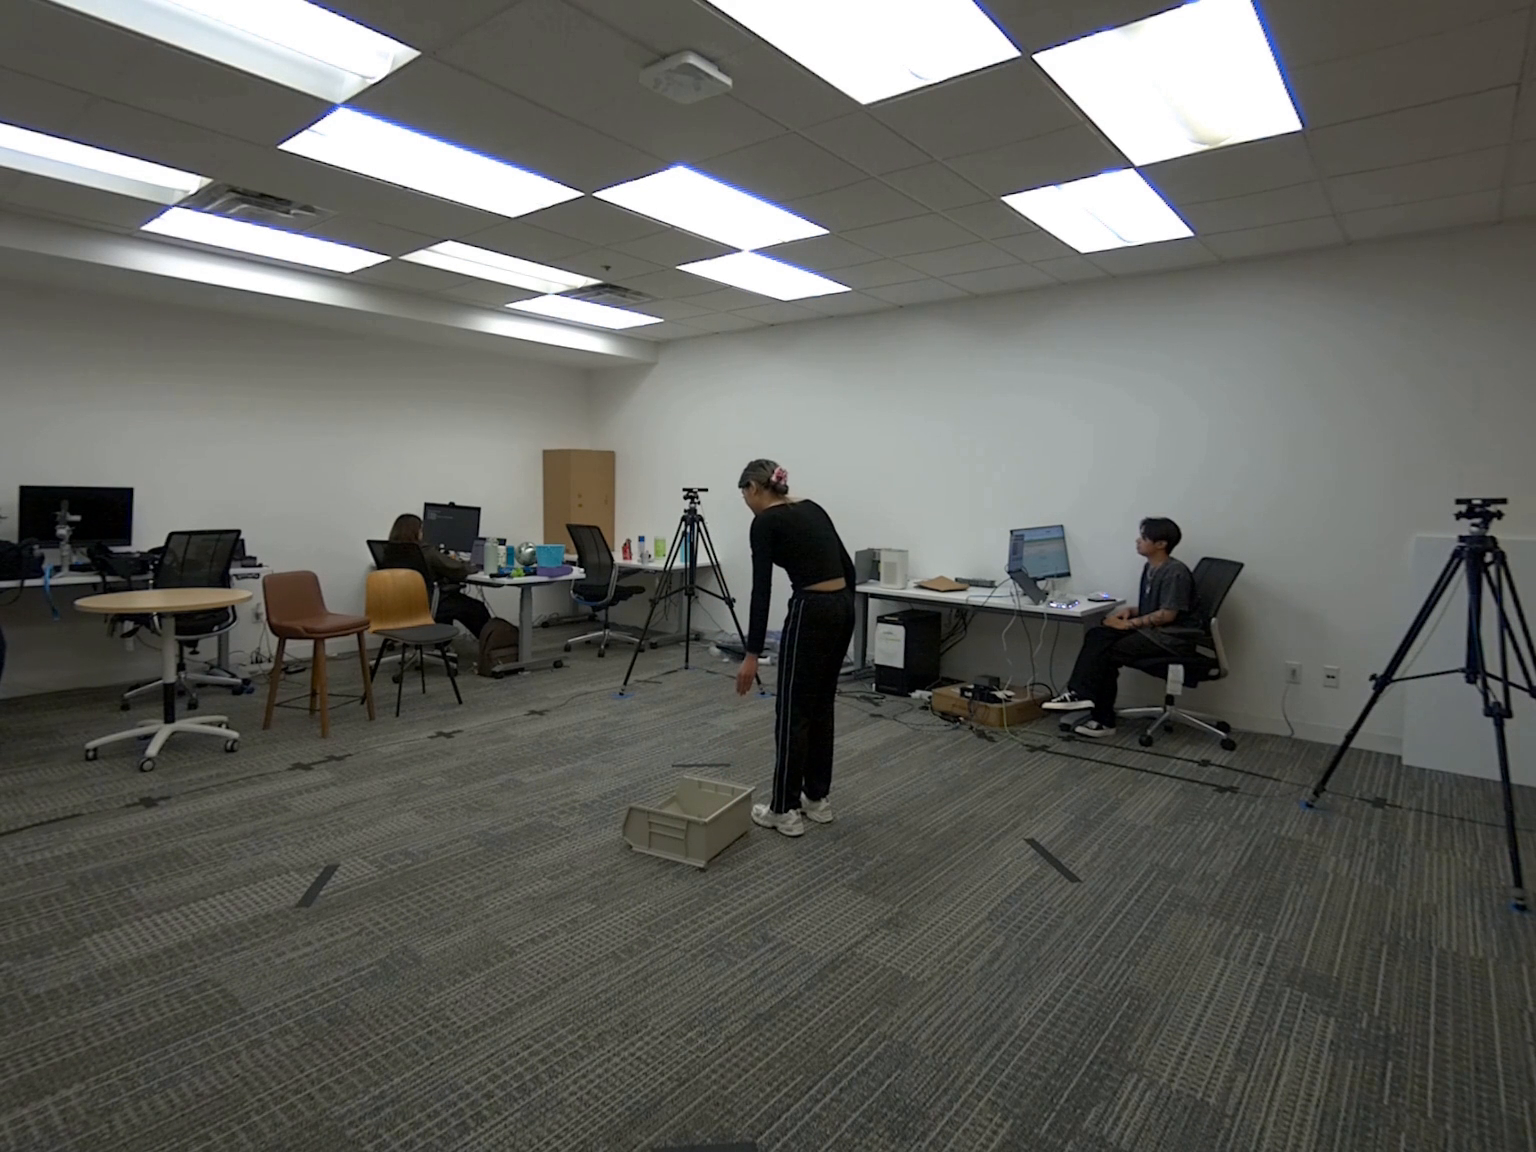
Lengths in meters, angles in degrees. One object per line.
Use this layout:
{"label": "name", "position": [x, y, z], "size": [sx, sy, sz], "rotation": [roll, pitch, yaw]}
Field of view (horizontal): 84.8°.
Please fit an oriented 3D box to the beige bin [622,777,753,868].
{"label": "beige bin", "position": [-0.319, 0.956, 3.376], "size": [0.388, 0.188, 0.412], "rotation": [4, 5, 26]}
